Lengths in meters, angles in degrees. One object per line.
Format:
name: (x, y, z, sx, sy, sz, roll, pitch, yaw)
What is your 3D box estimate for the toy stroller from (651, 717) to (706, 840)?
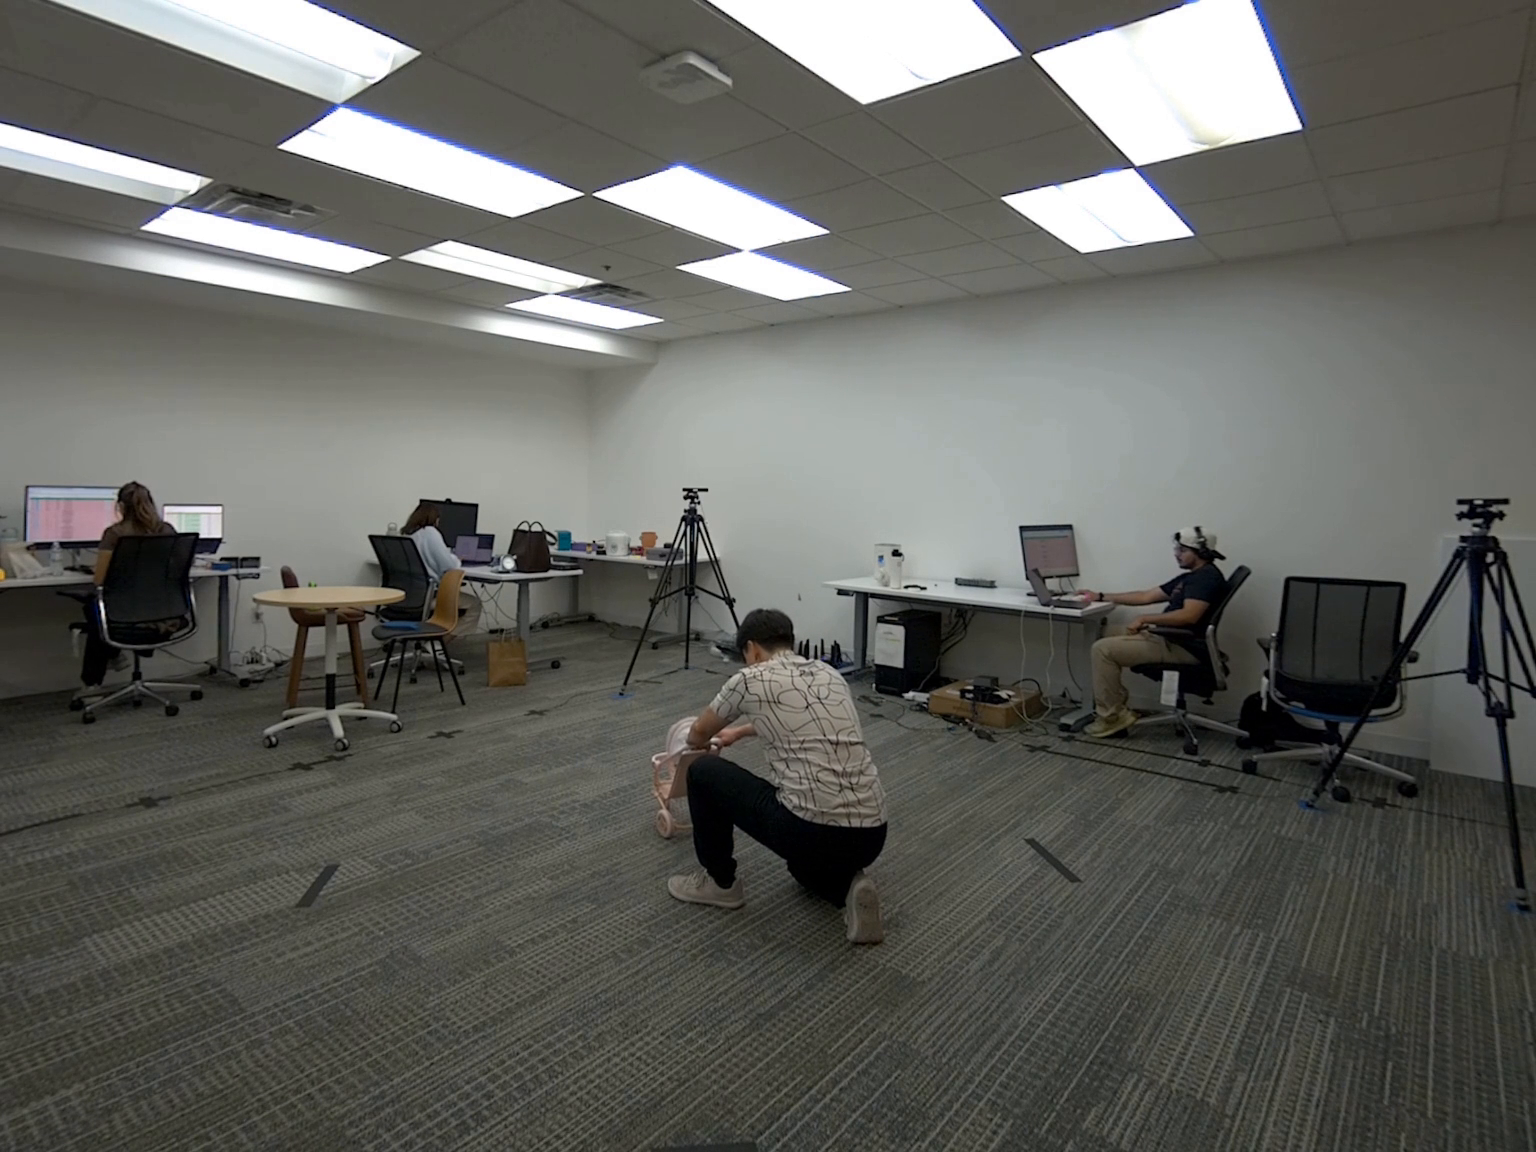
toy stroller: (-0.348, 0.803, 3.497, 0.274, 0.527, 0.355, -1, 21, -28)
